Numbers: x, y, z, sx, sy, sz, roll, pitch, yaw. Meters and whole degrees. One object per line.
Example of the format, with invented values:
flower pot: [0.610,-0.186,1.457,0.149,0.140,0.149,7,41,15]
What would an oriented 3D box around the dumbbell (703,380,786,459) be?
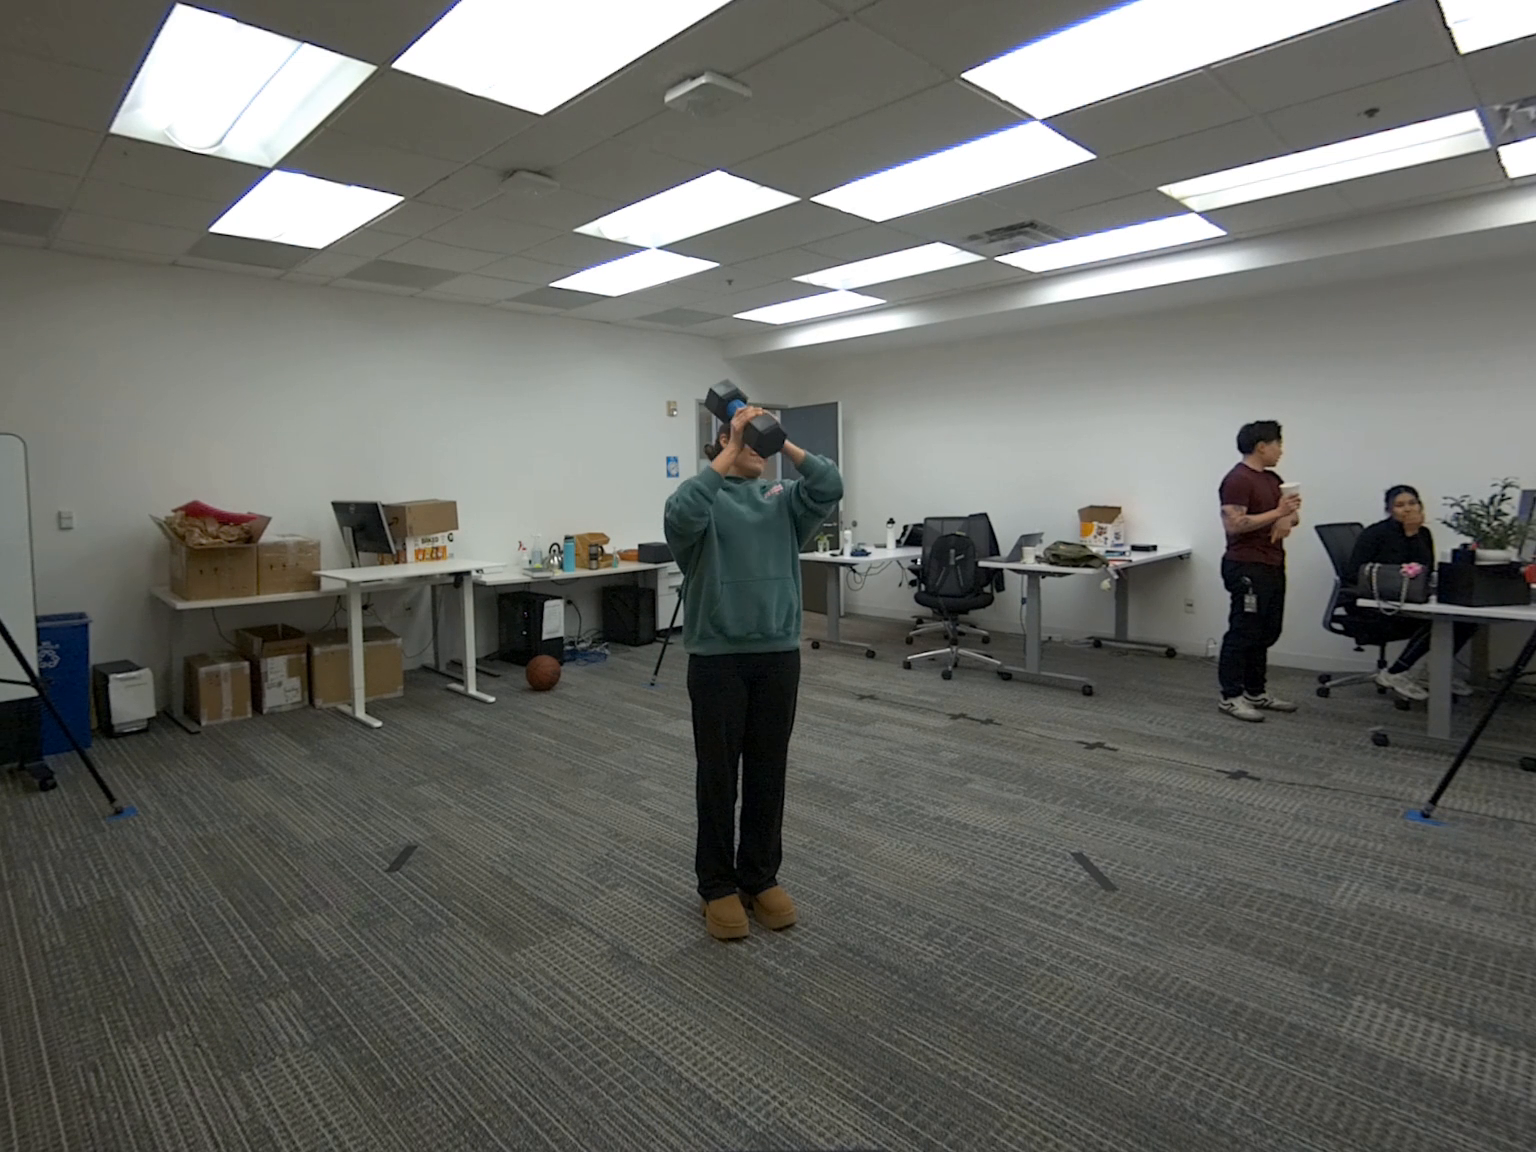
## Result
dumbbell: [-0.067,-0.458,2.506,0.106,0.121,0.305,-6,39,-38]
